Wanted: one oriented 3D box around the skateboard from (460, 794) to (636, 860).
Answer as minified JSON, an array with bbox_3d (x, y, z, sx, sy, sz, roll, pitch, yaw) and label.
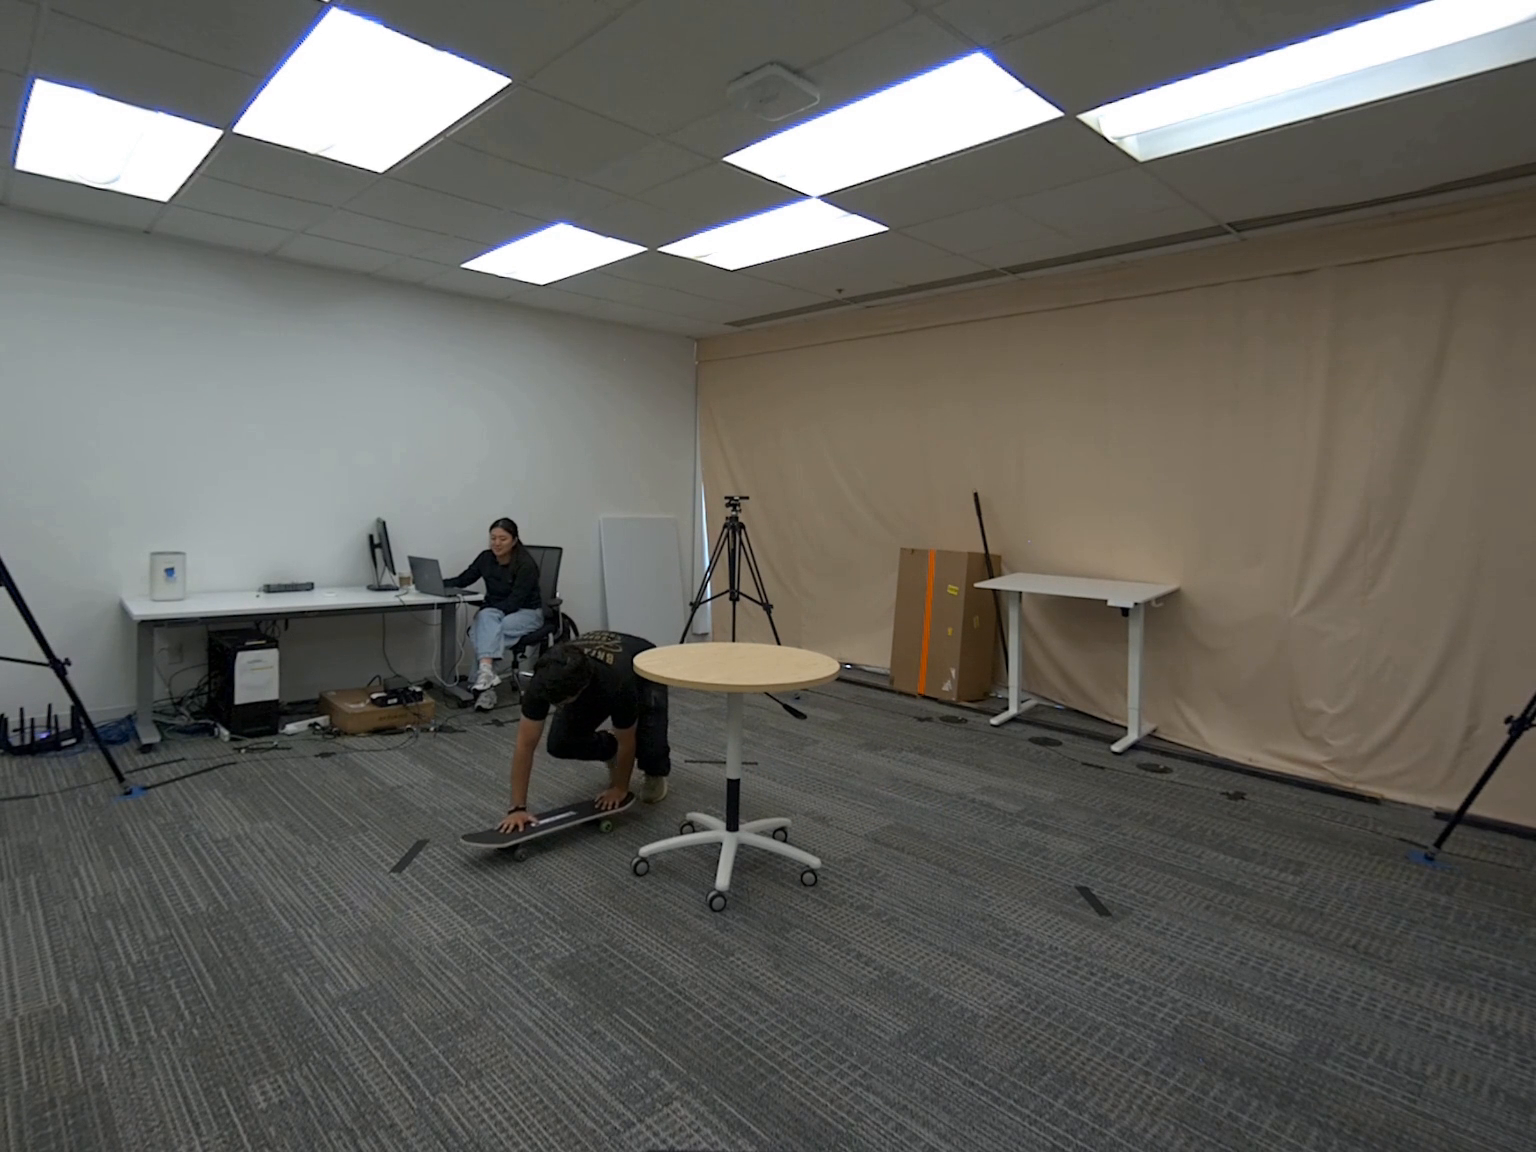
[{"bbox_3d":[-0.870,1.010,3.378,0.198,0.110,0.768,2,4,42],"label":"skateboard"}]
